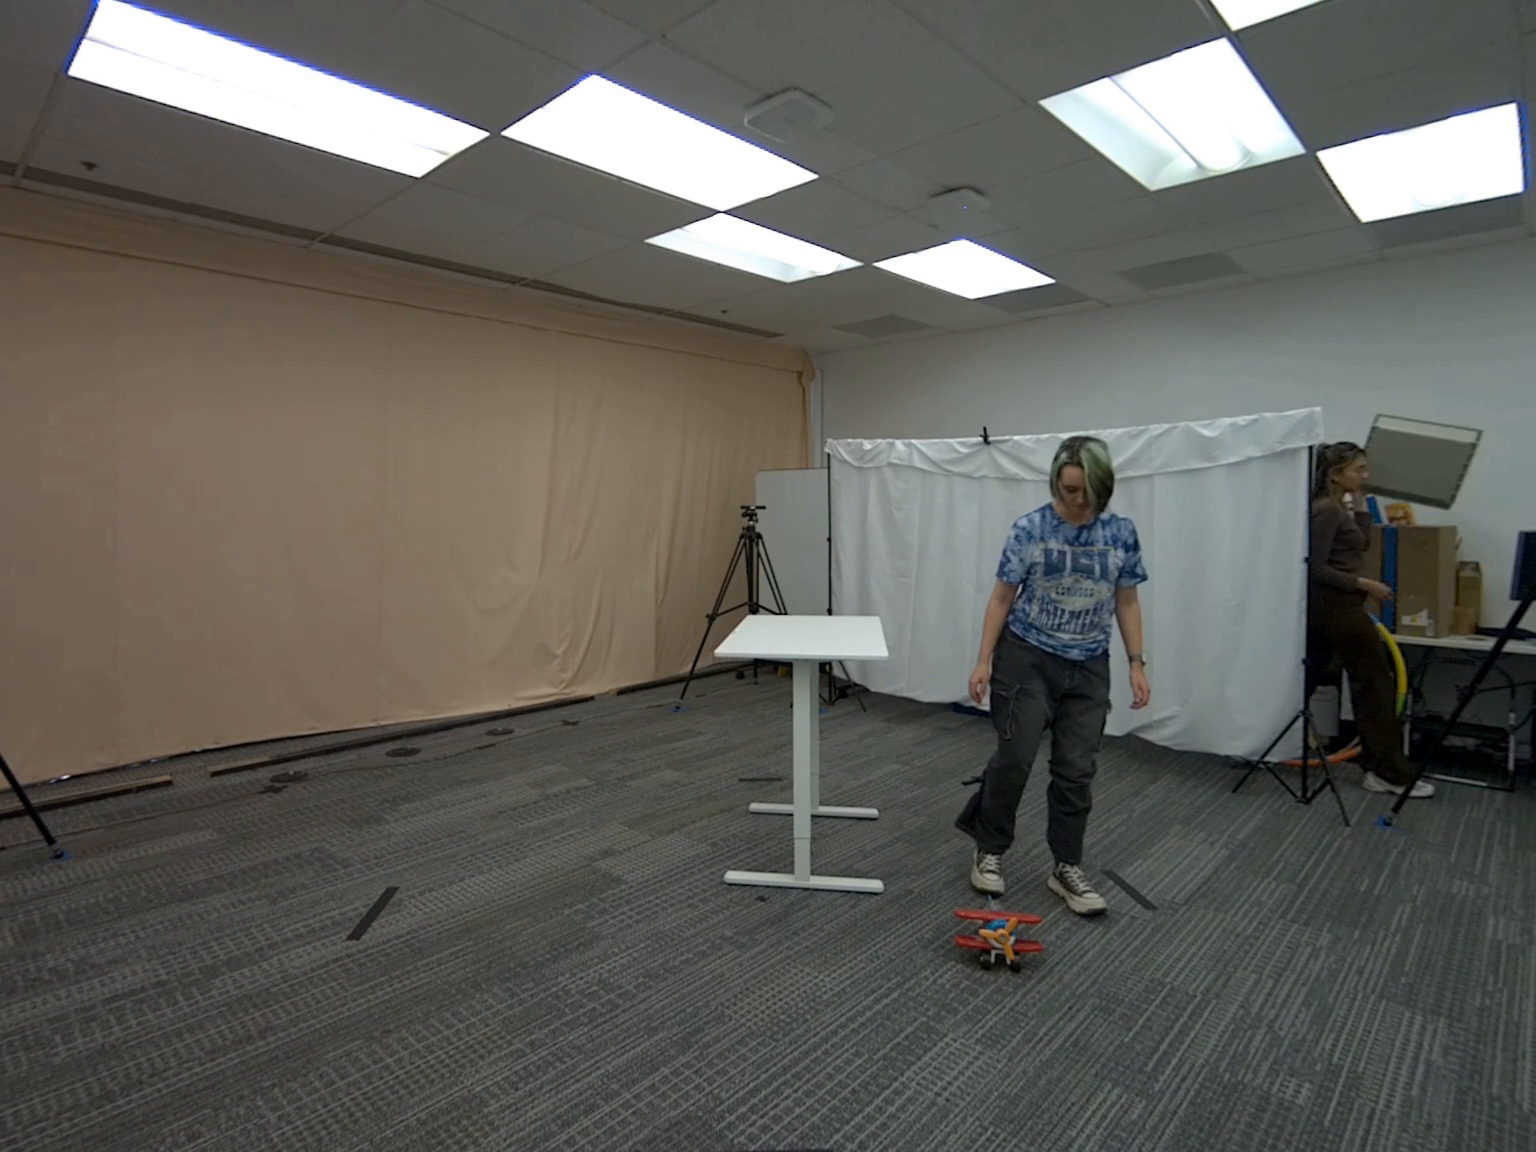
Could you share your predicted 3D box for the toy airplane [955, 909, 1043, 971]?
[{"bbox_3d":[0.695,1.100,2.607,0.246,0.156,0.265,-2,5,-20],"label":"toy airplane"}]
